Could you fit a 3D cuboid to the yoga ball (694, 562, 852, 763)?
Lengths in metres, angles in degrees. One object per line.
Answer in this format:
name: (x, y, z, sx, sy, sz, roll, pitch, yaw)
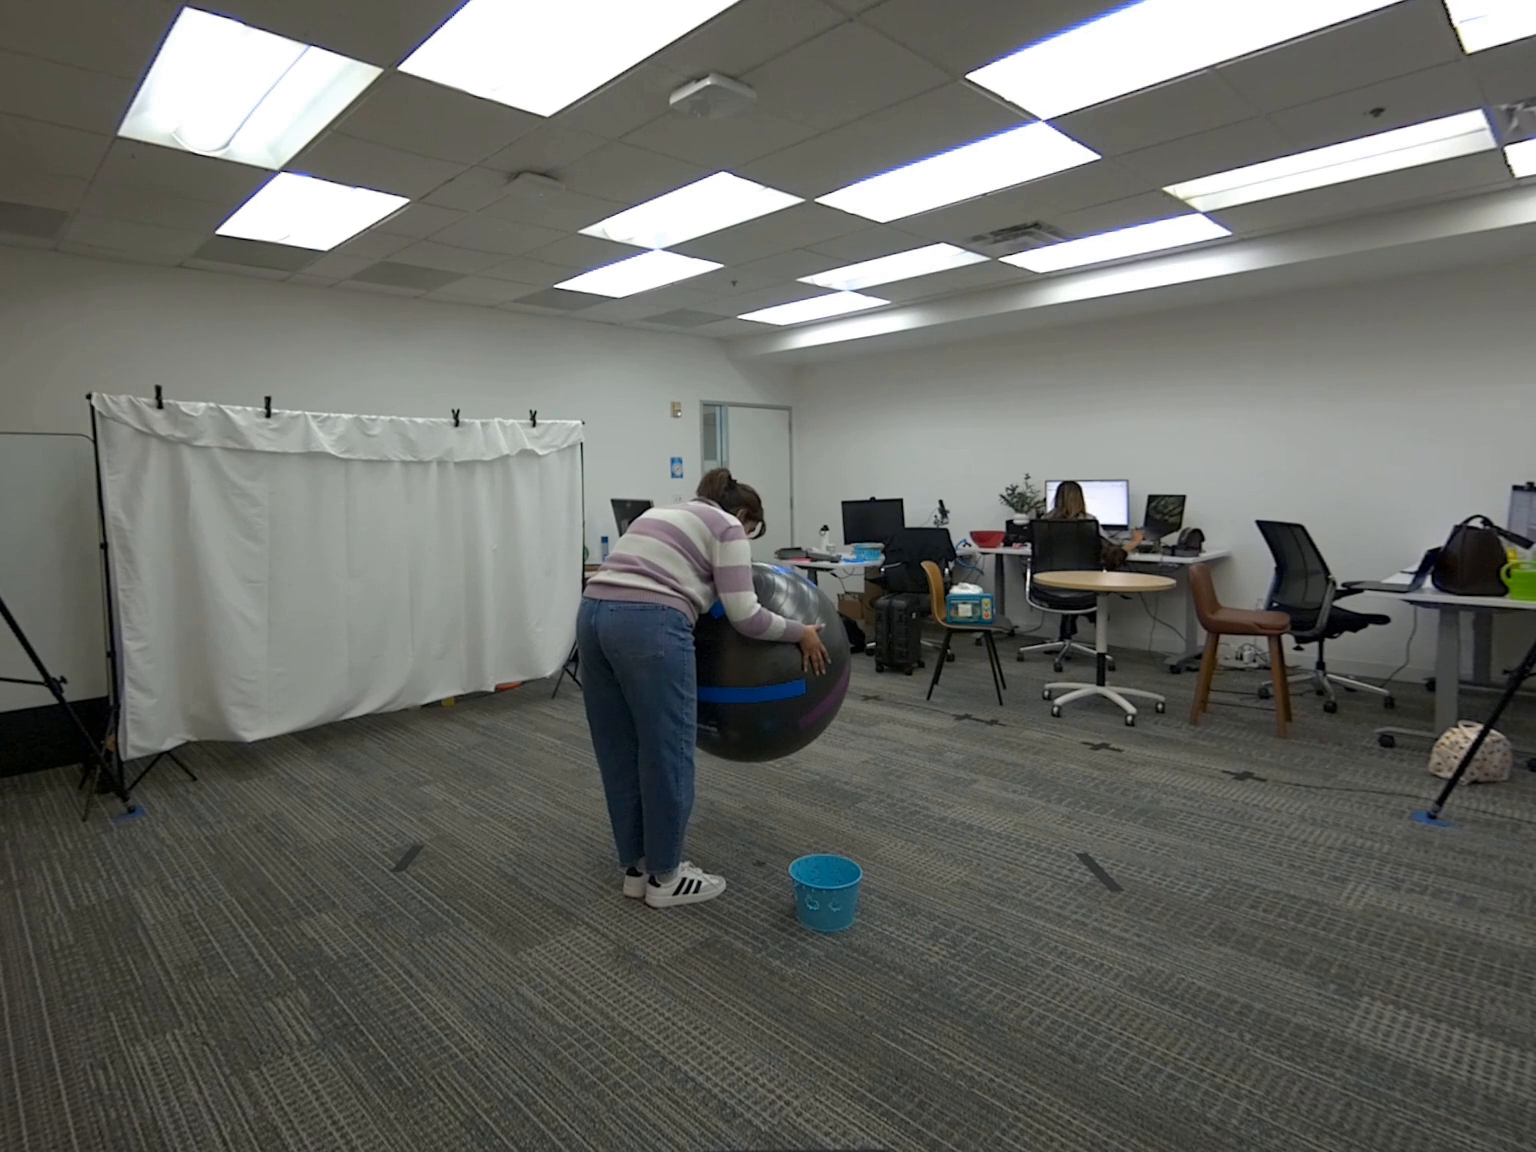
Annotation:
yoga ball: (-0.066, 0.341, 3.257, 0.757, 0.755, 0.762, -1, 5, -2)
